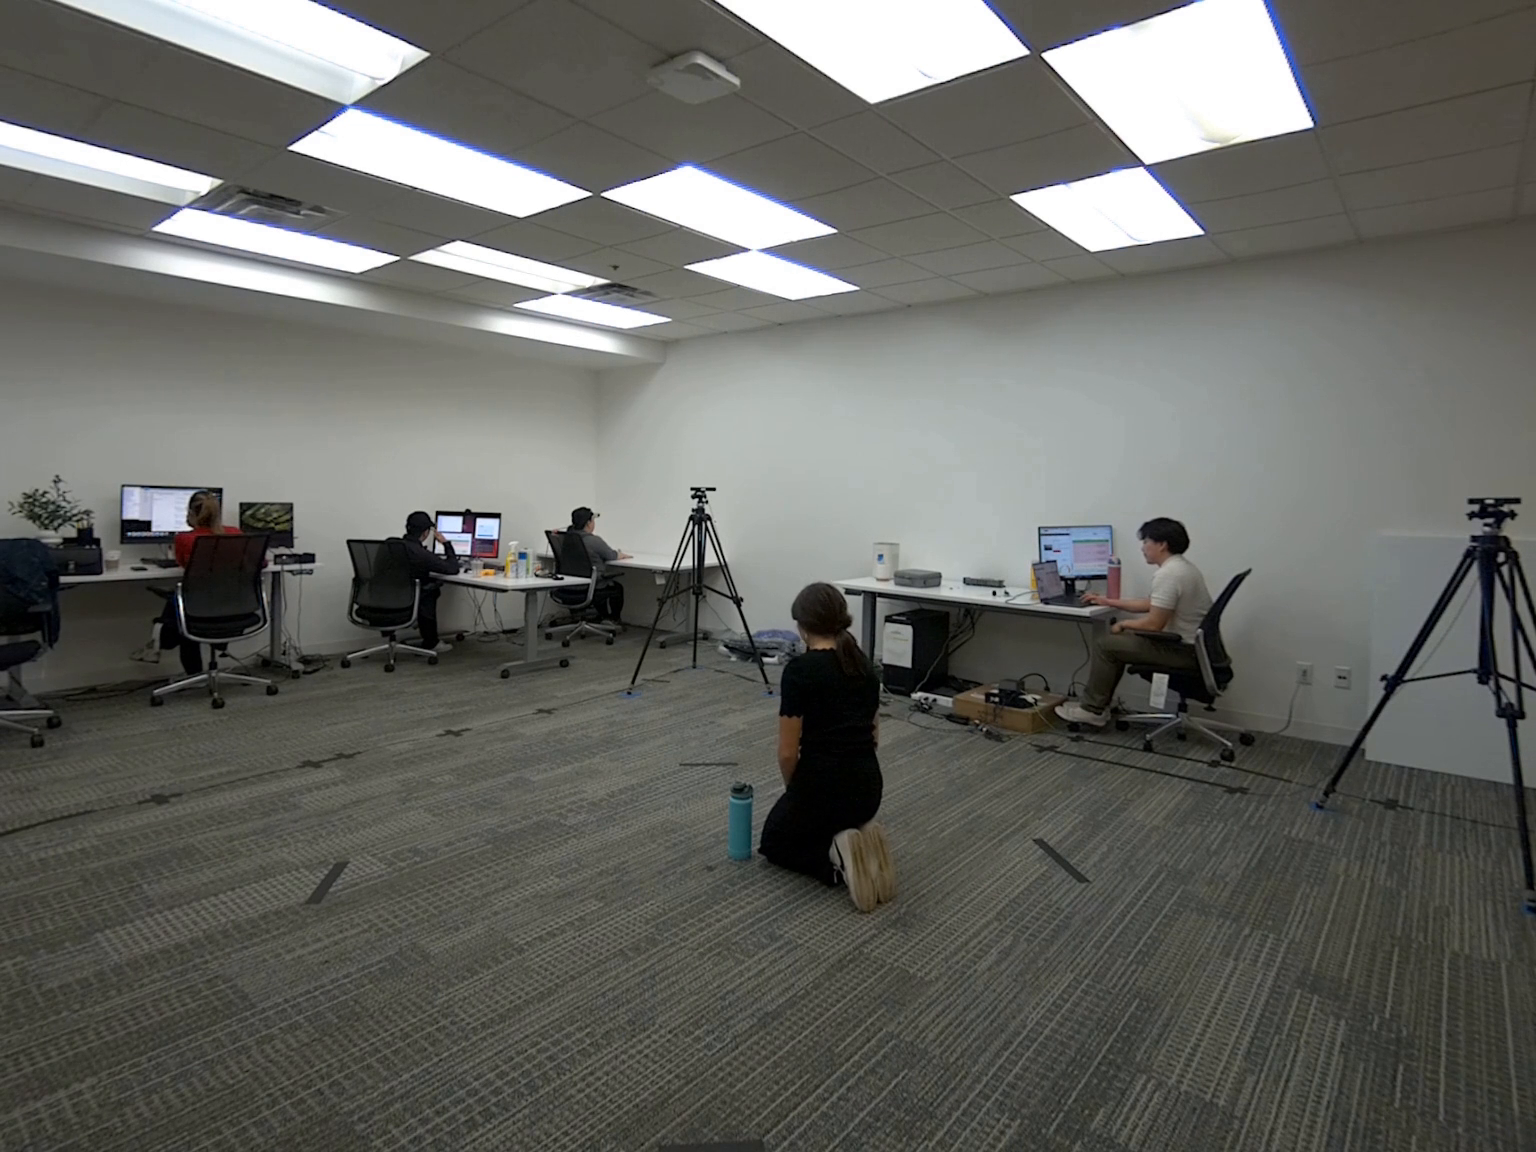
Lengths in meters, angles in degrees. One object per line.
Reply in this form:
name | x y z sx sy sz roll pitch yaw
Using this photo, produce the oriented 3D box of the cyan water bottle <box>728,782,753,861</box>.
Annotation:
cyan water bottle | -0.110 0.920 3.226 0.092 0.283 0.092 3 2 -2
